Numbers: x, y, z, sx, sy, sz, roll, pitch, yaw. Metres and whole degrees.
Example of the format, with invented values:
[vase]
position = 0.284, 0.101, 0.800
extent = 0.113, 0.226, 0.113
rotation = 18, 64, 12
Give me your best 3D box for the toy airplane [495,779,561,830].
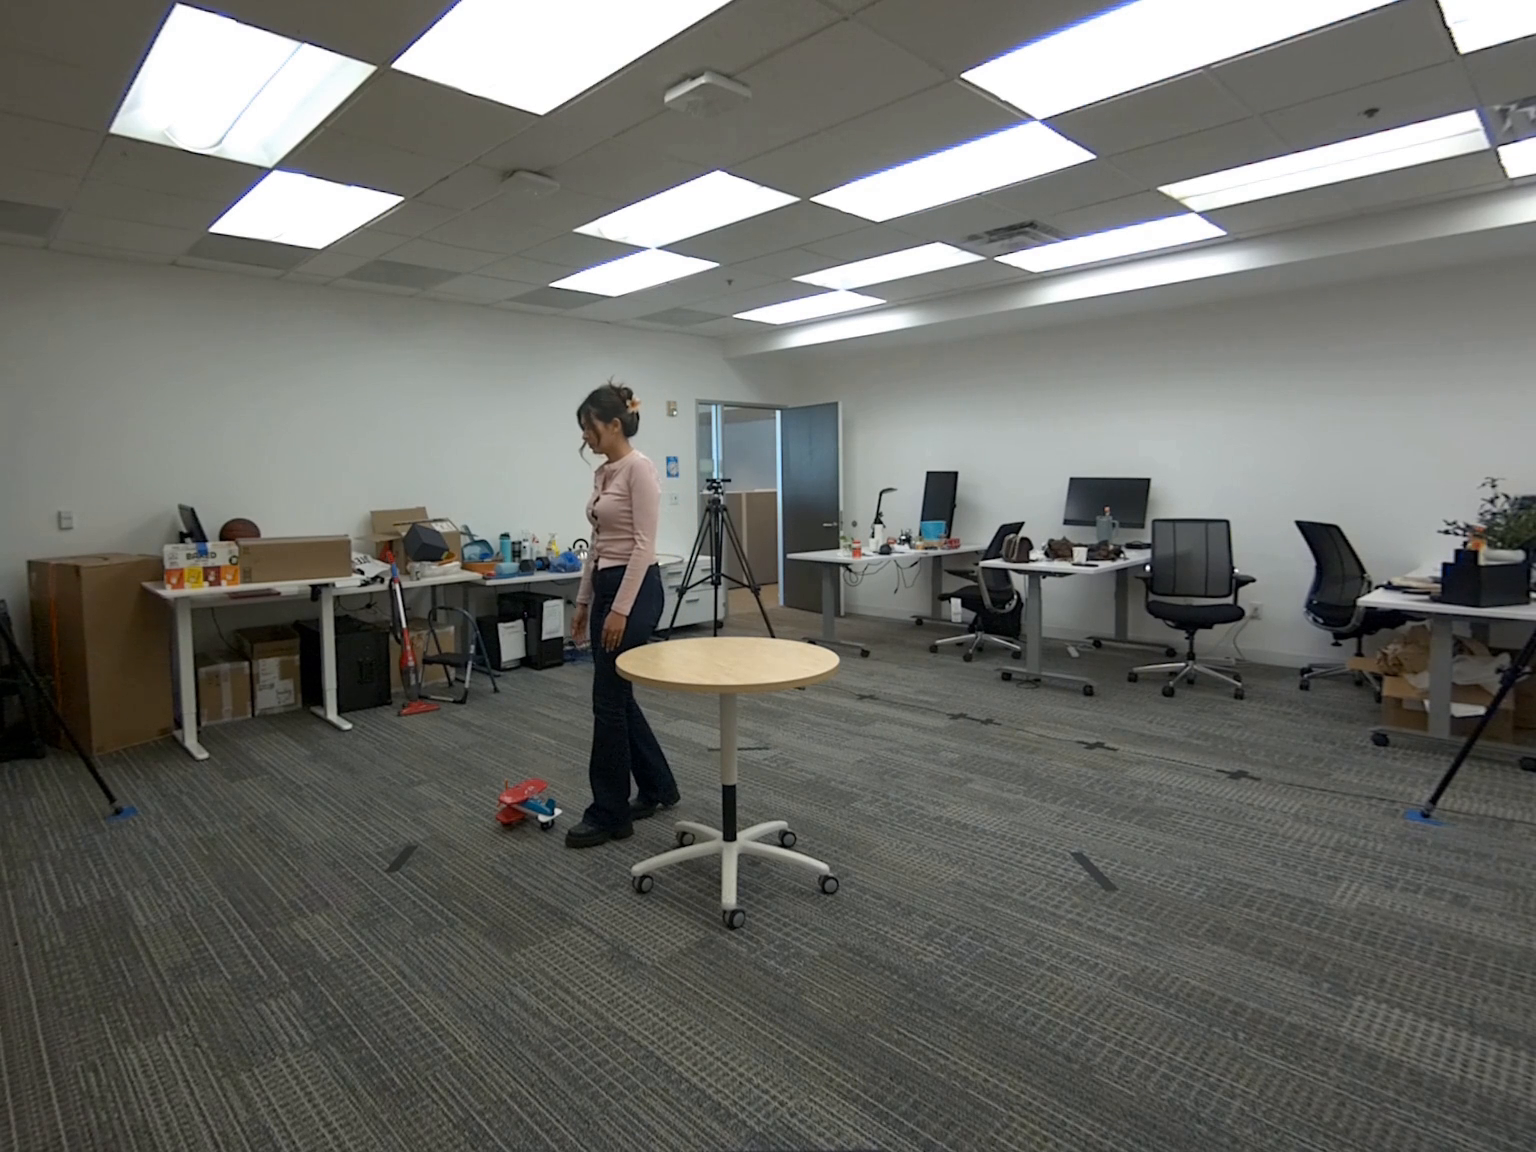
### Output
[toy airplane]
position = -0.966, 0.941, 3.511
extent = 0.259, 0.156, 0.253
rotation = -2, 6, -3
